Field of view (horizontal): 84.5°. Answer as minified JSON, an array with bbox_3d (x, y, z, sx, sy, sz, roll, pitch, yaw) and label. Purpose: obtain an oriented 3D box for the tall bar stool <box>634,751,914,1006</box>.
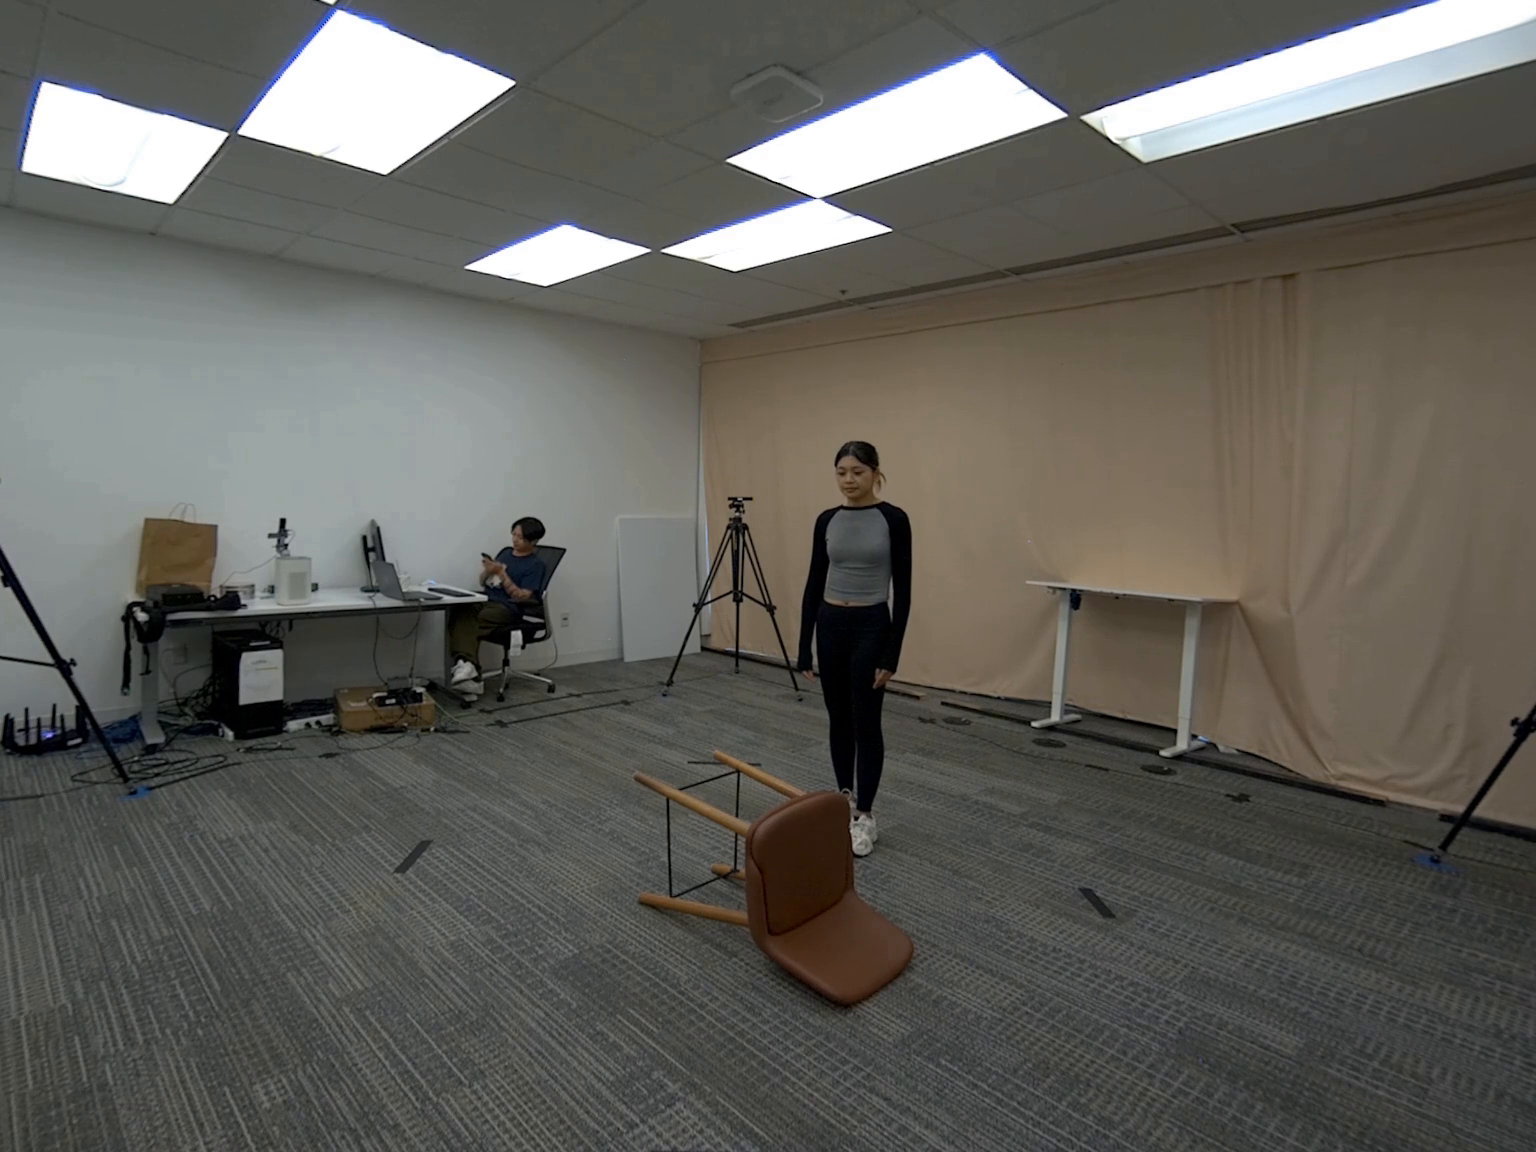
[{"bbox_3d":[-0.003,0.919,2.702,0.913,0.466,0.446,6,6,44],"label":"tall bar stool"}]
